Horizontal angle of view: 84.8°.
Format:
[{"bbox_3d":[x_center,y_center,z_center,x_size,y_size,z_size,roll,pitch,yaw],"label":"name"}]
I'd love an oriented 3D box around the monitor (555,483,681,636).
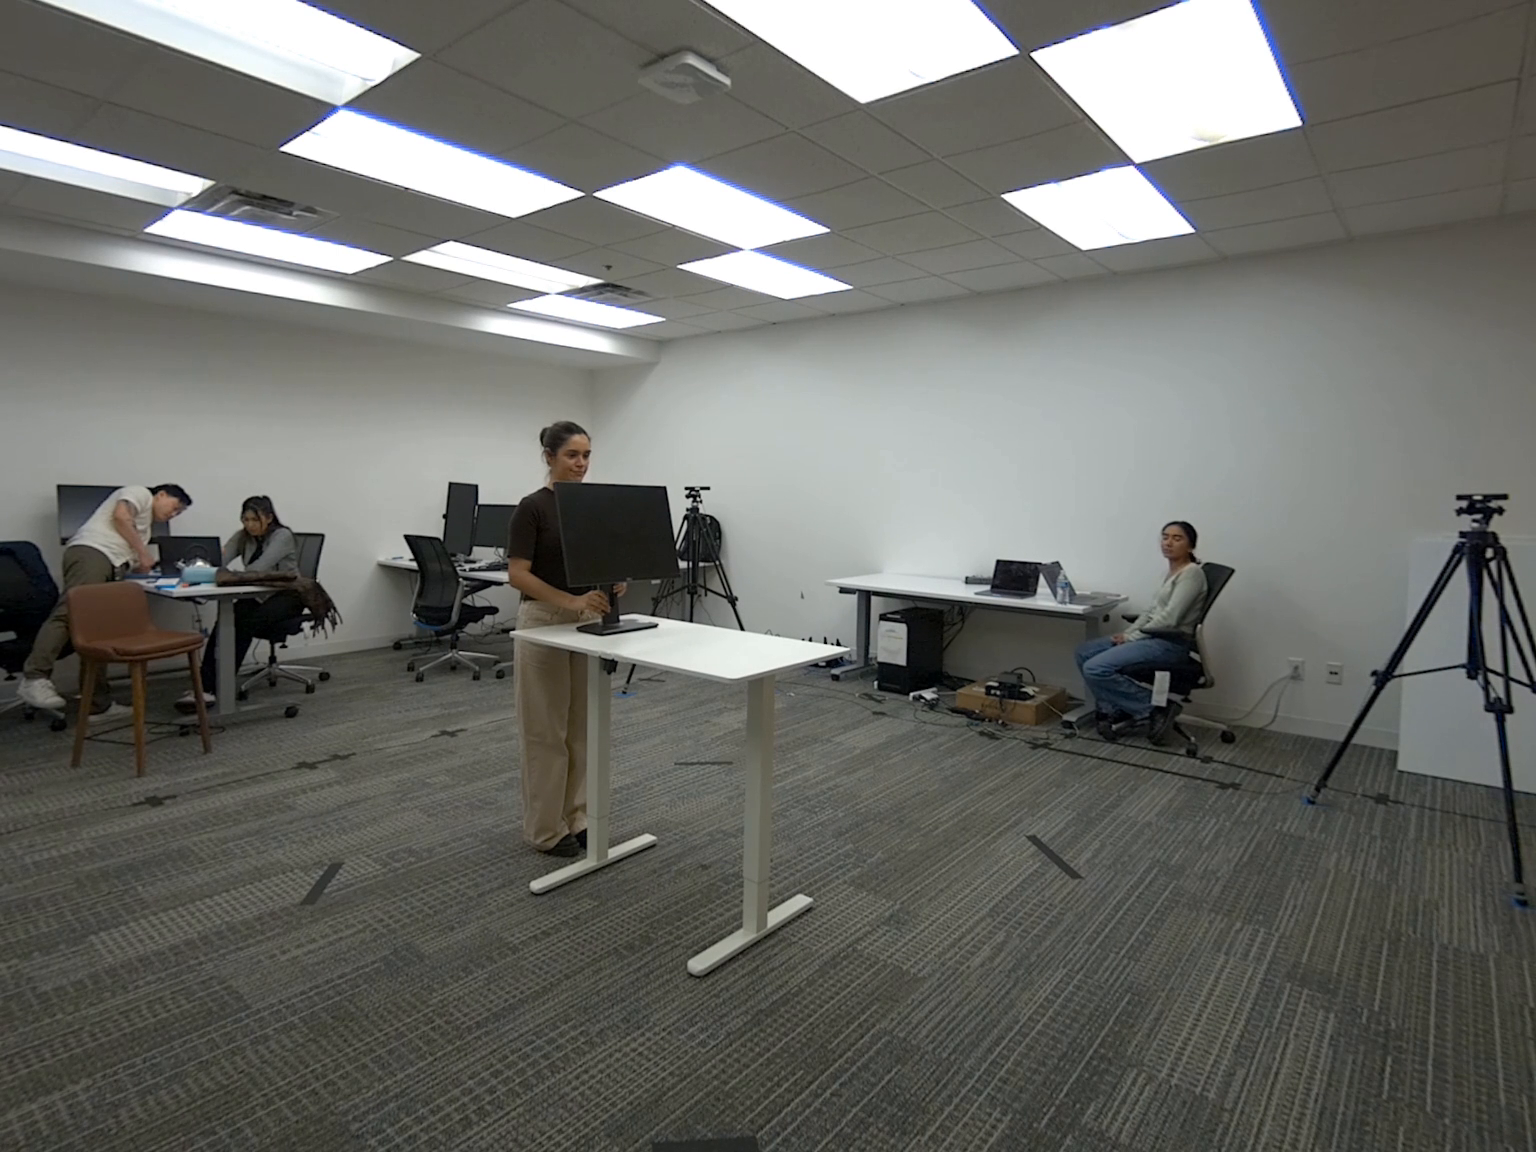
[{"bbox_3d":[-0.552,-0.071,3.008,0.180,0.514,0.514,7,6,36],"label":"monitor"}]
